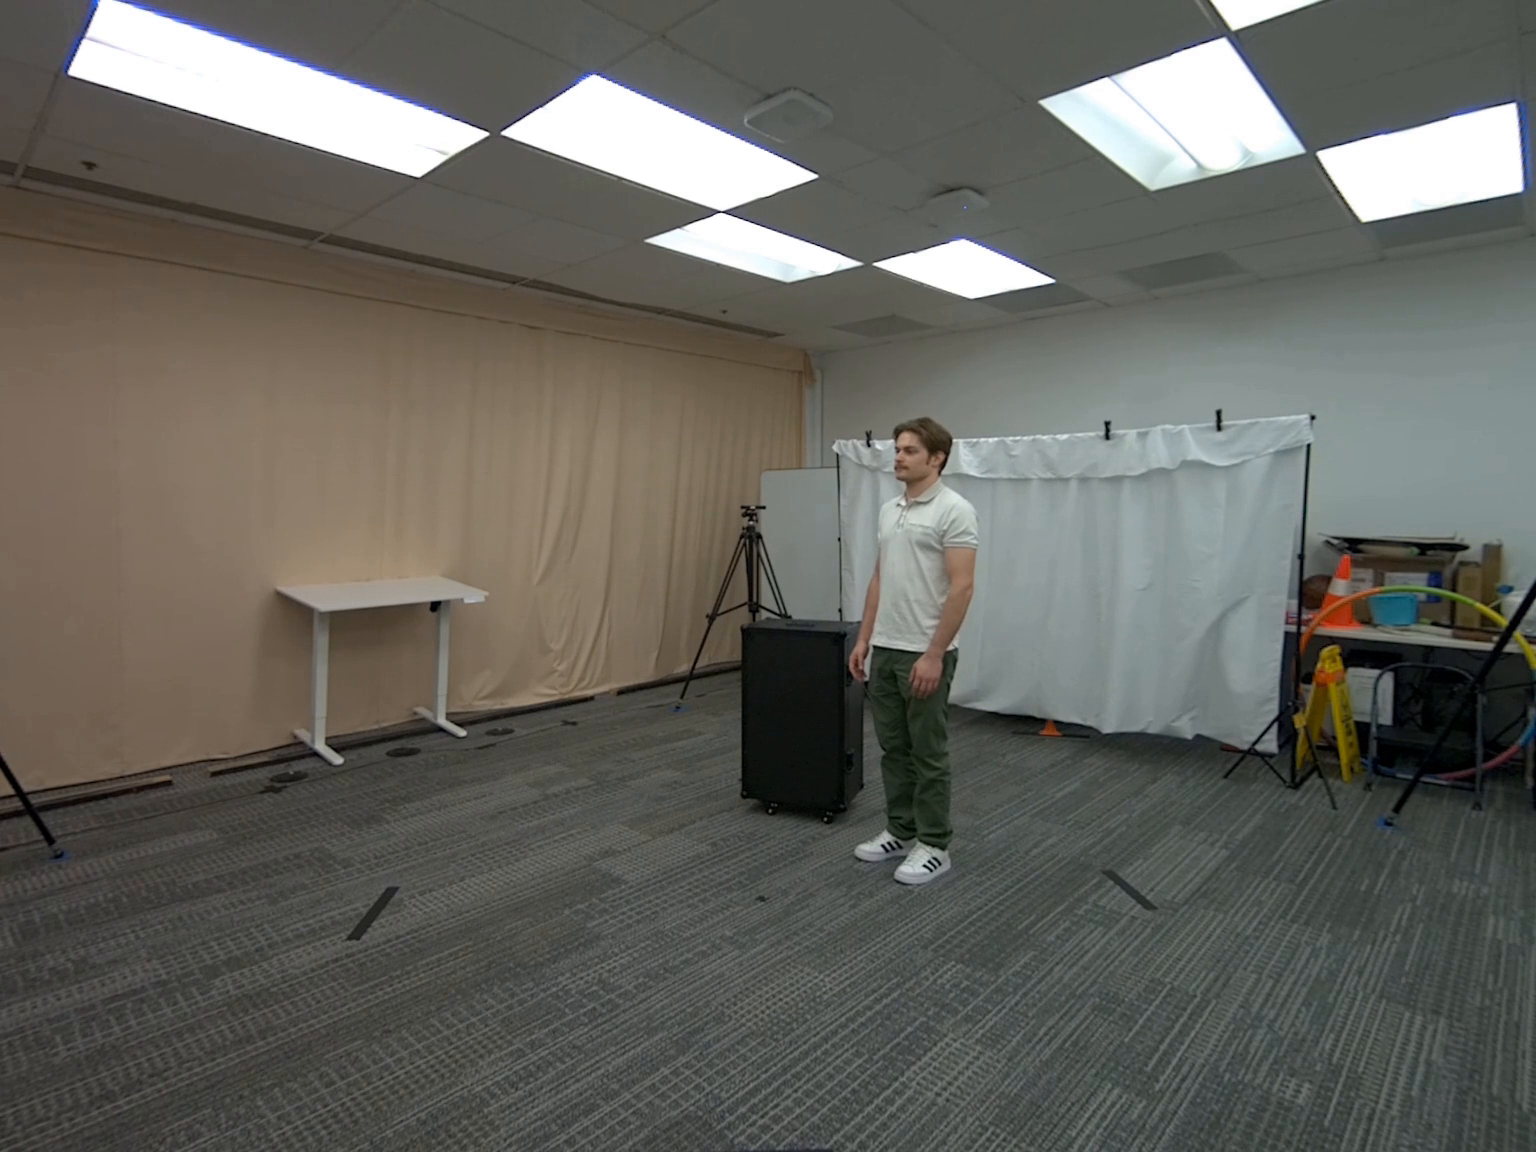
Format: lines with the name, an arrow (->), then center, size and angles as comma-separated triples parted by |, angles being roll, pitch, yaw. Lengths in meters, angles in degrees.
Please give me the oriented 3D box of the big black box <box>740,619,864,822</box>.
big black box -> 0.163, 0.645, 3.880 | 0.535, 0.867, 0.377 | 1, 3, 21
